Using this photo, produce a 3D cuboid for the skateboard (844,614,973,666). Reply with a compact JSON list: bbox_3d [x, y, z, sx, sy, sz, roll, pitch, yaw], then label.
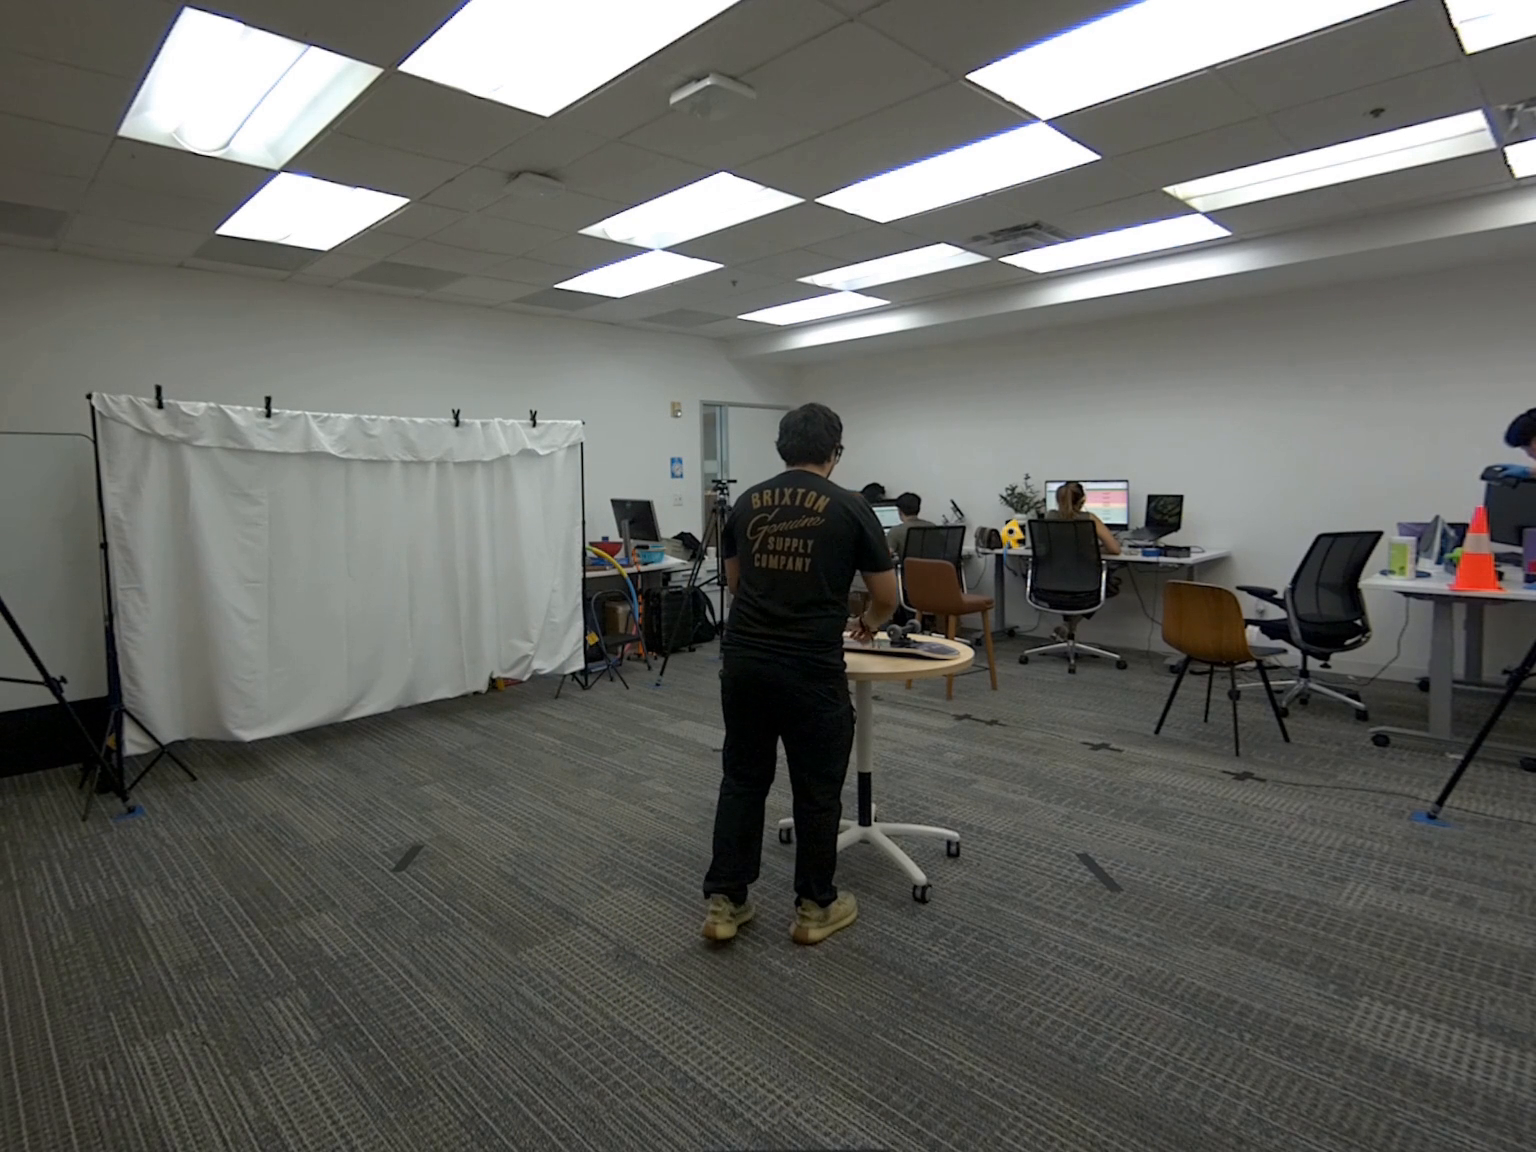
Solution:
[{"bbox_3d":[0.324,0.210,3.110,0.808,0.110,0.189,3,7,39],"label":"skateboard"}]
